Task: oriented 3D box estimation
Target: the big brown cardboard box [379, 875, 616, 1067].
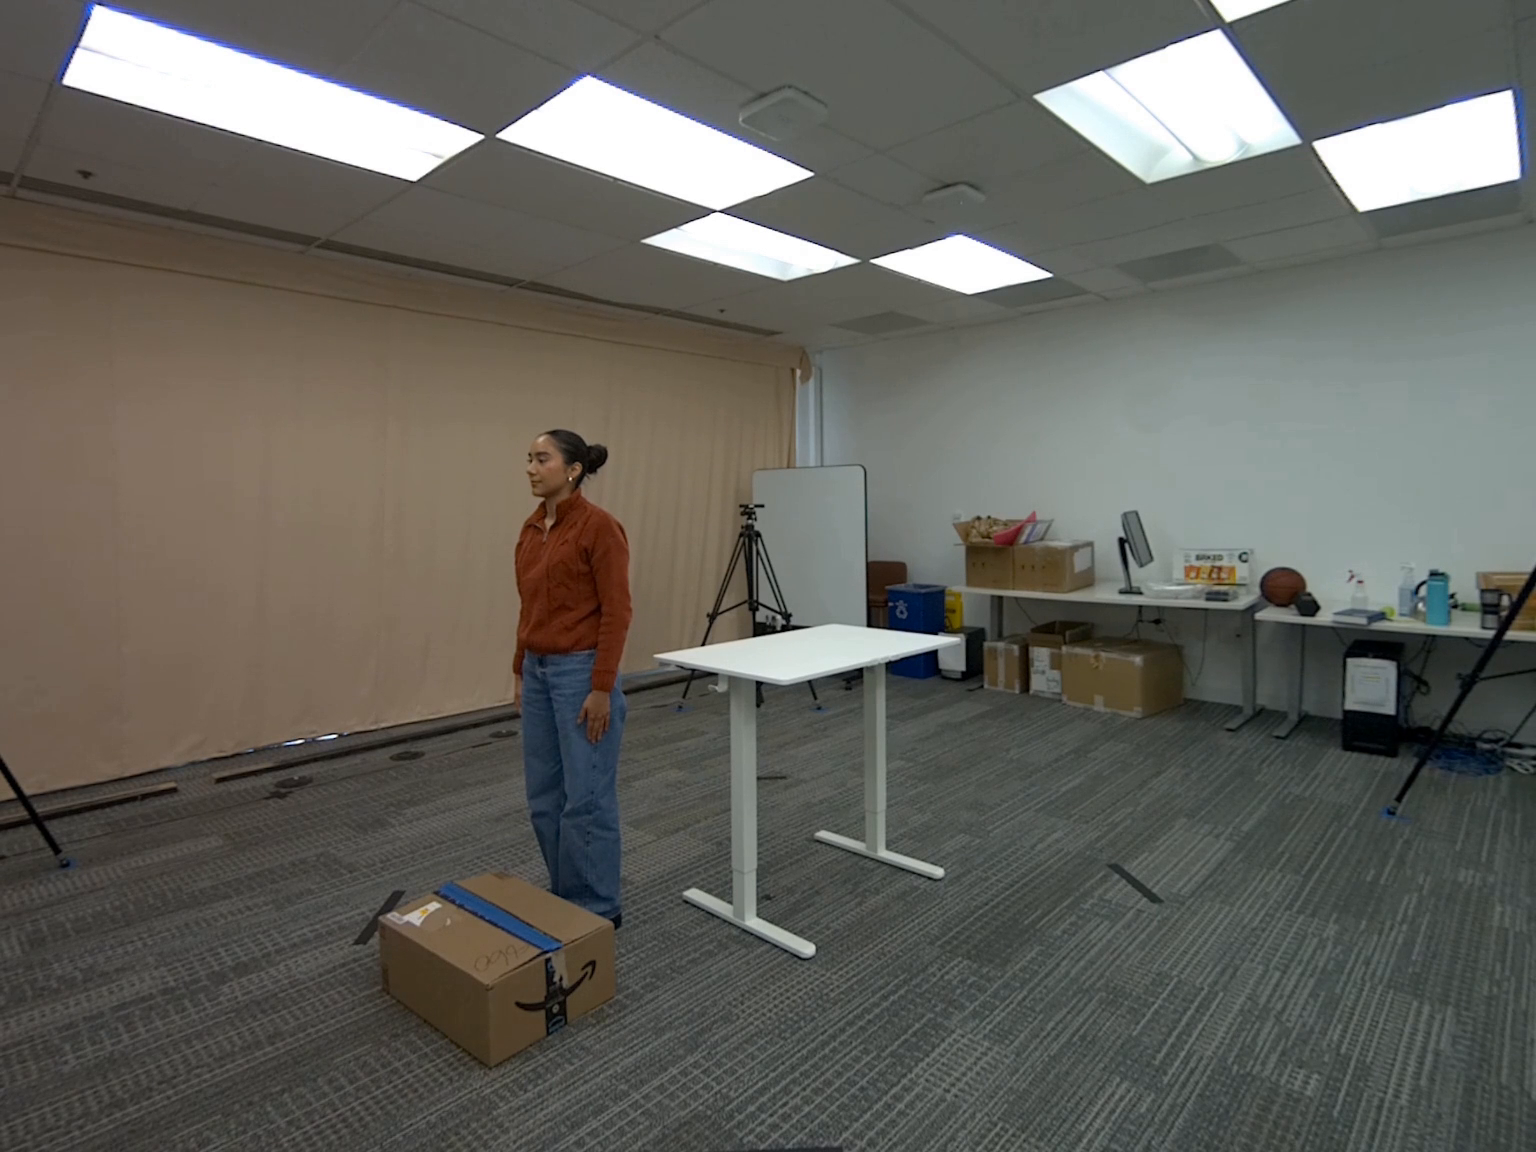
[{"bbox_3d":[-0.789,1.093,2.425,0.608,0.232,0.405,4,6,39],"label":"big brown cardboard box"}]
